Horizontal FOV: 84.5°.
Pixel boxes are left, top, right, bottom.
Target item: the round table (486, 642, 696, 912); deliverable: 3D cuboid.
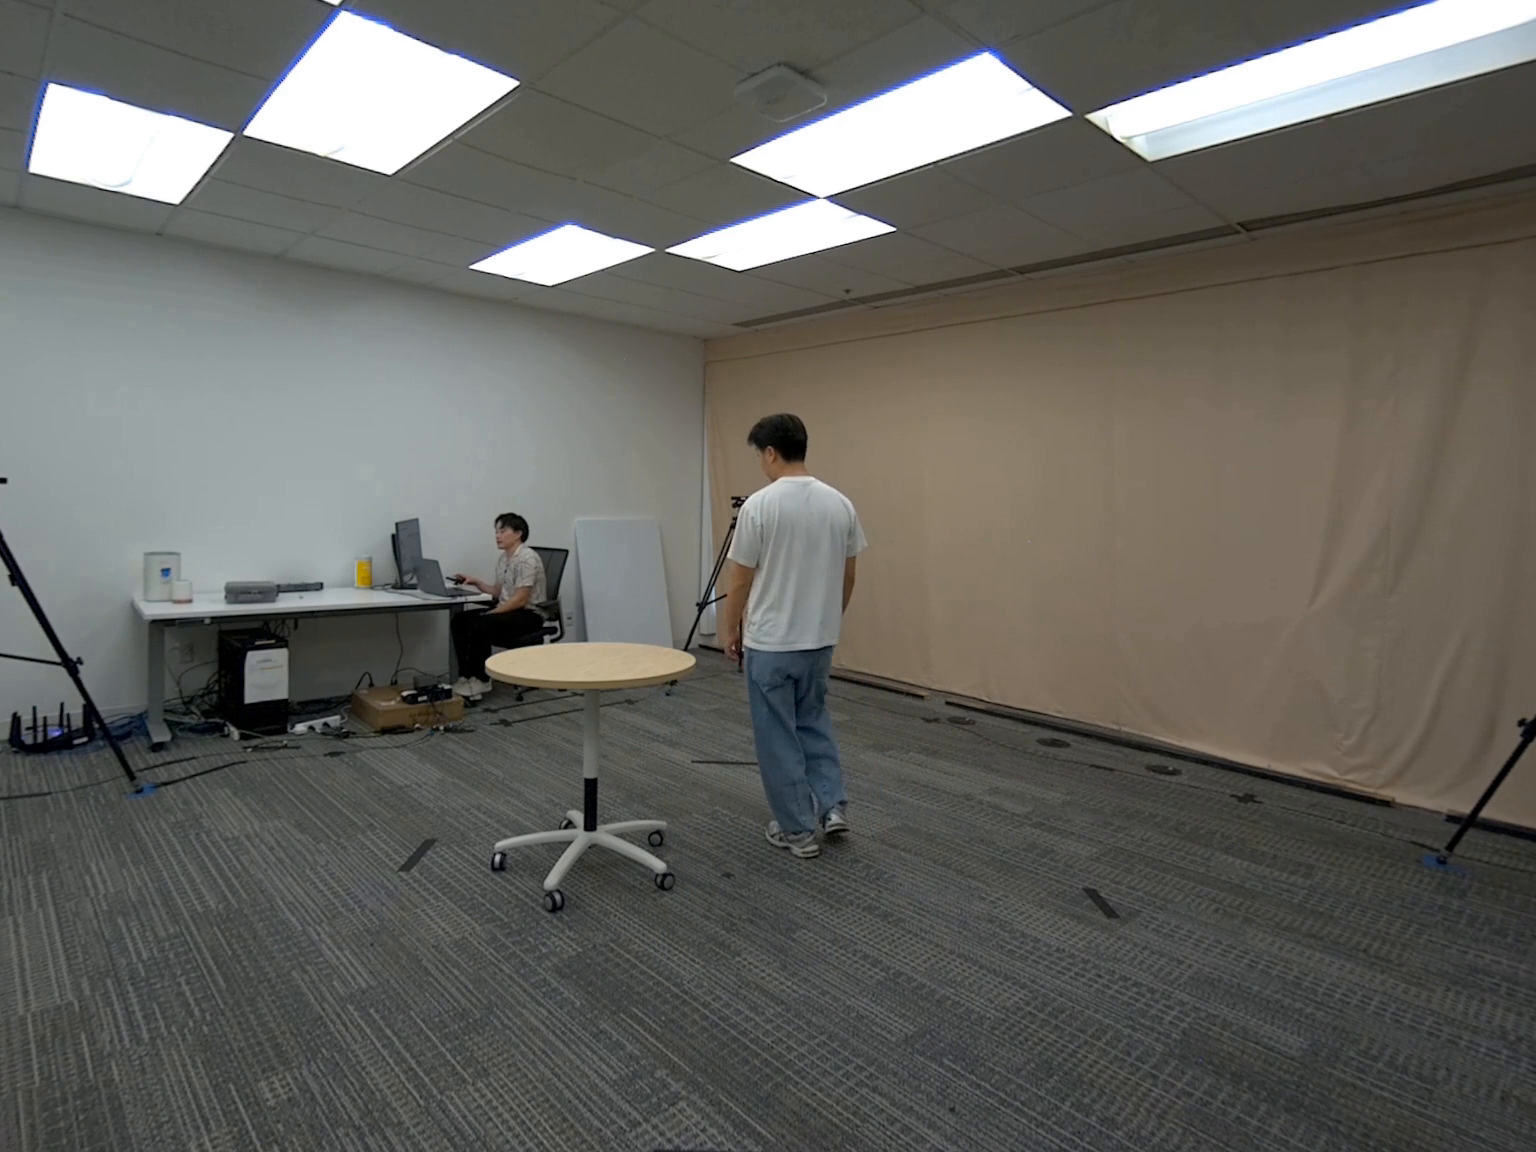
[{"bbox_3d":[-0.667,0.698,3.143,0.784,0.784,0.788,1,4,-1],"label":"round table"}]
